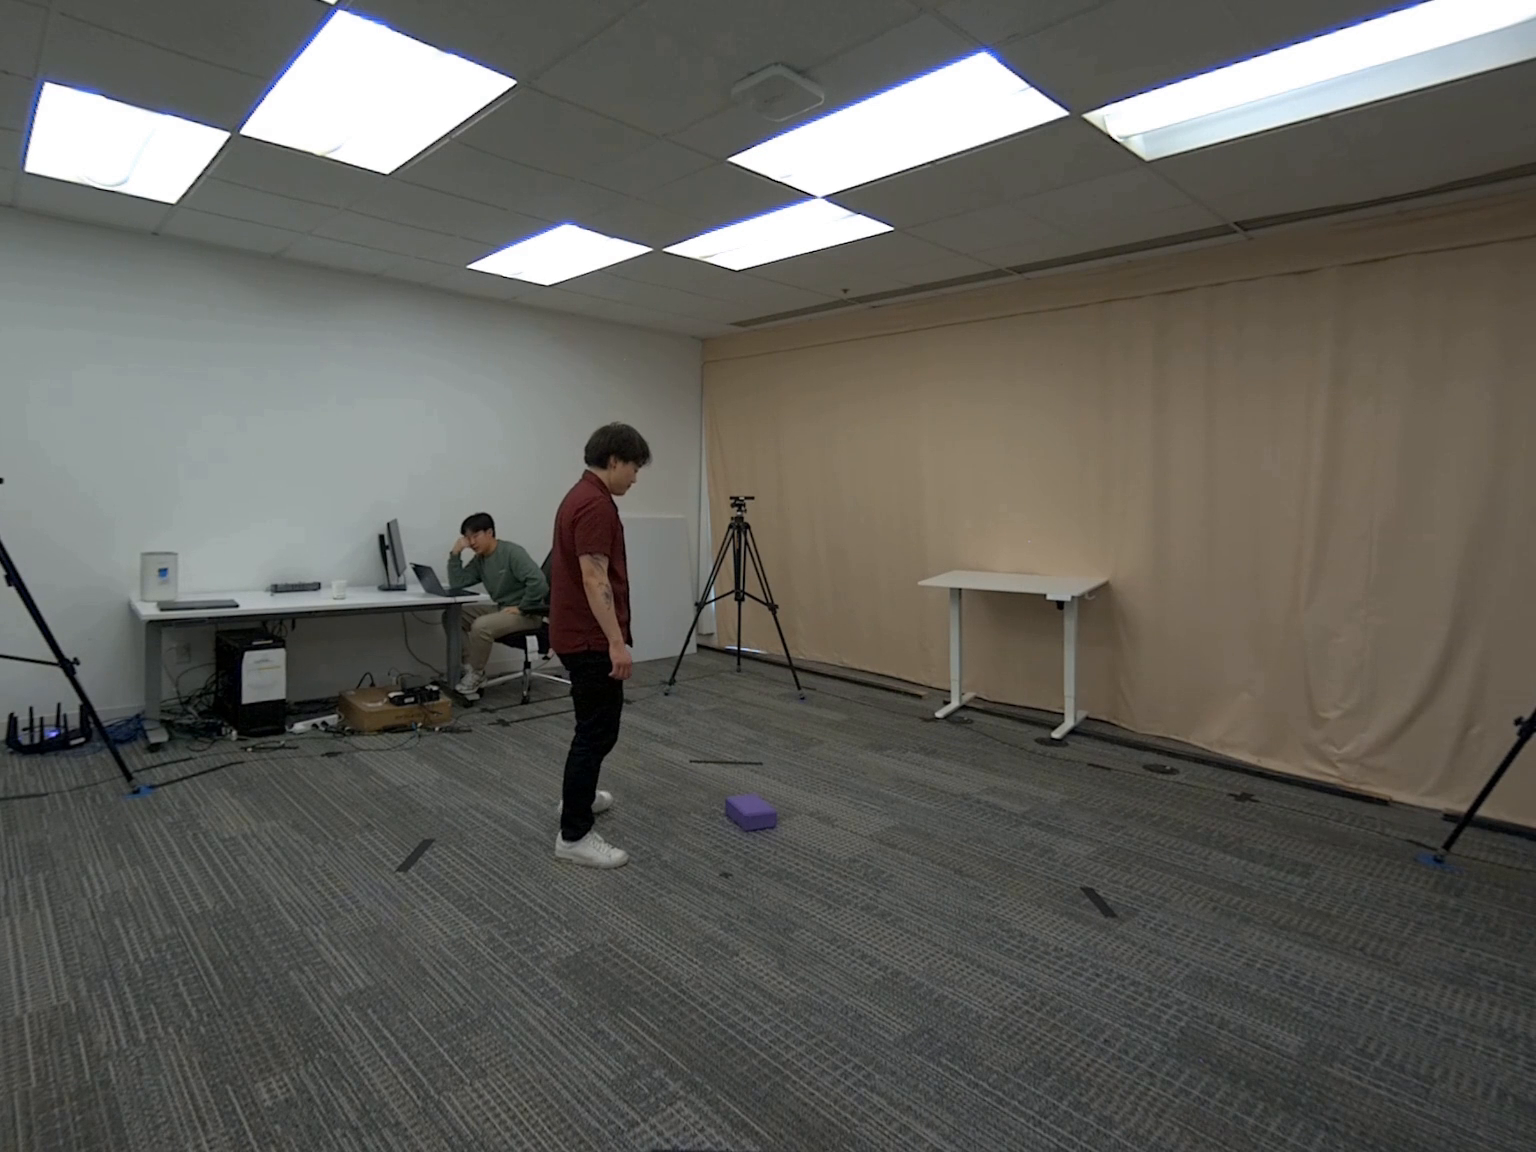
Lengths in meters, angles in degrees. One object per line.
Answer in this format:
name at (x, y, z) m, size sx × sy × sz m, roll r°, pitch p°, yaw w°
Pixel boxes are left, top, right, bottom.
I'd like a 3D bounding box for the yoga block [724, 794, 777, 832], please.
yoga block at (-0.087, 1.017, 3.640) m, size 0.146 × 0.076 × 0.234 m, roll 0°, pitch 5°, yaw -25°
